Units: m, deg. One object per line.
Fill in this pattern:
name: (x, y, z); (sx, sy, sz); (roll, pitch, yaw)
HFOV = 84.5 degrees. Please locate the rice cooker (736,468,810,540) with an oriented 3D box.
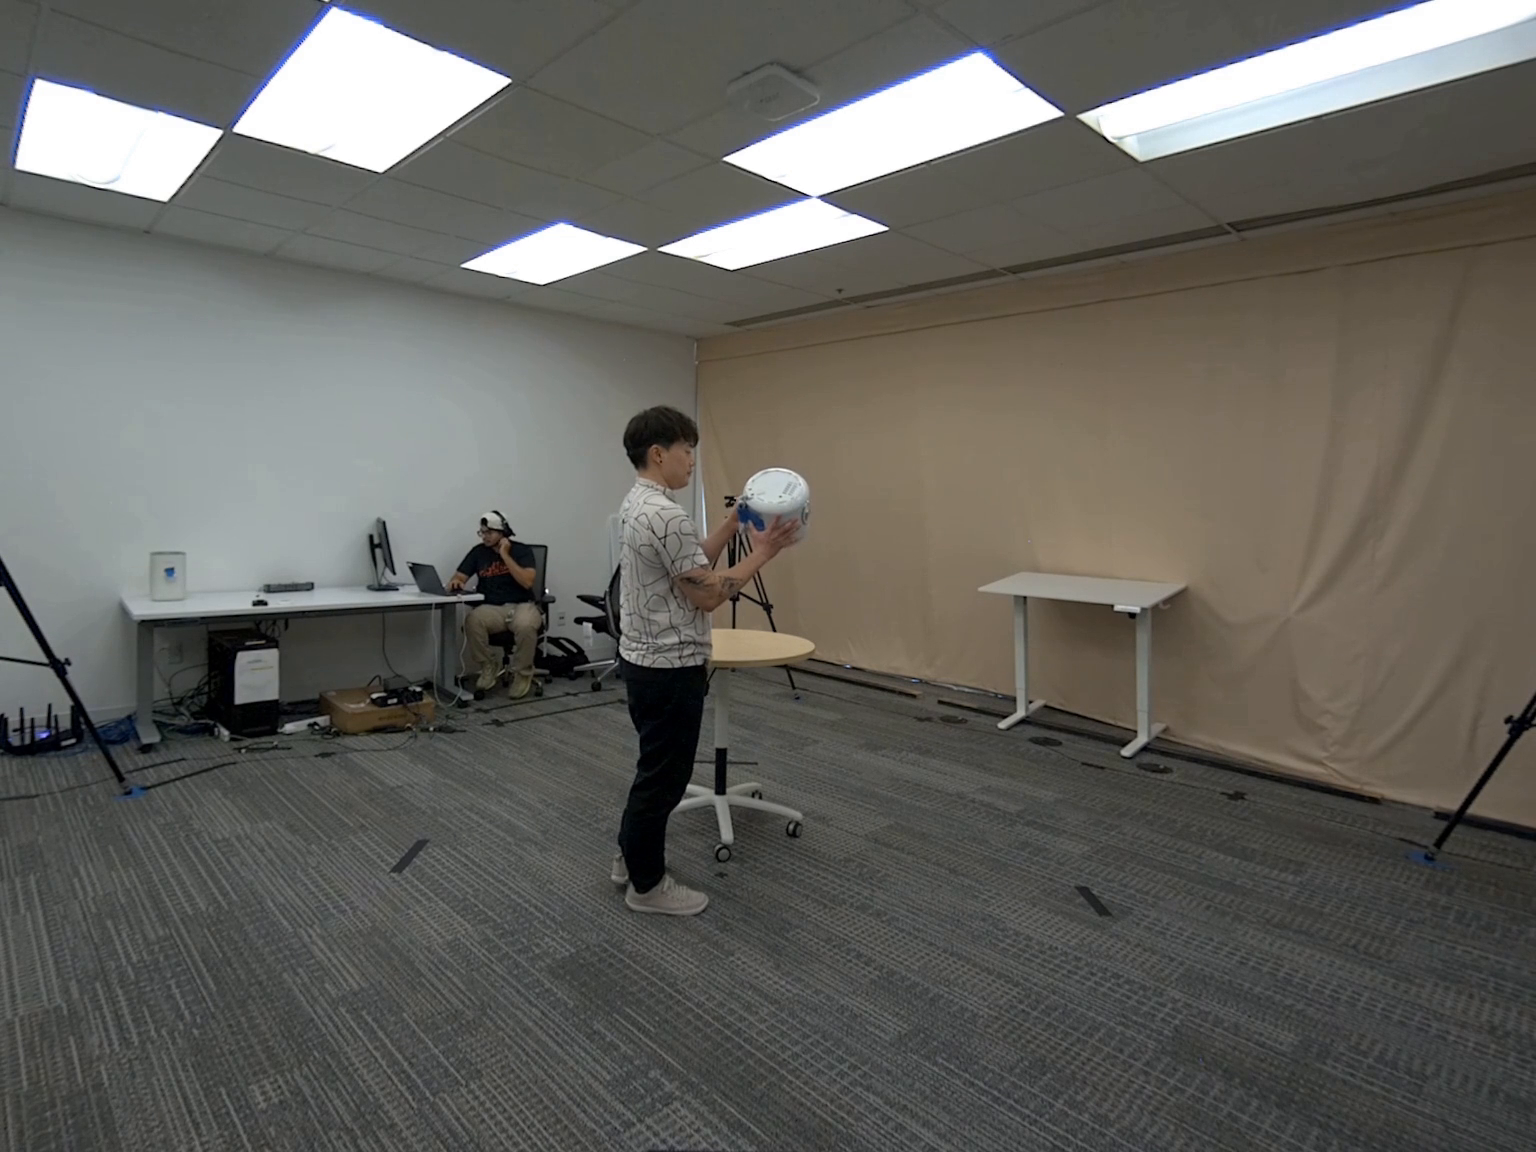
rice cooker: (0.025, -0.214, 2.754); (0.221, 0.222, 0.227); (18, -36, 18)
